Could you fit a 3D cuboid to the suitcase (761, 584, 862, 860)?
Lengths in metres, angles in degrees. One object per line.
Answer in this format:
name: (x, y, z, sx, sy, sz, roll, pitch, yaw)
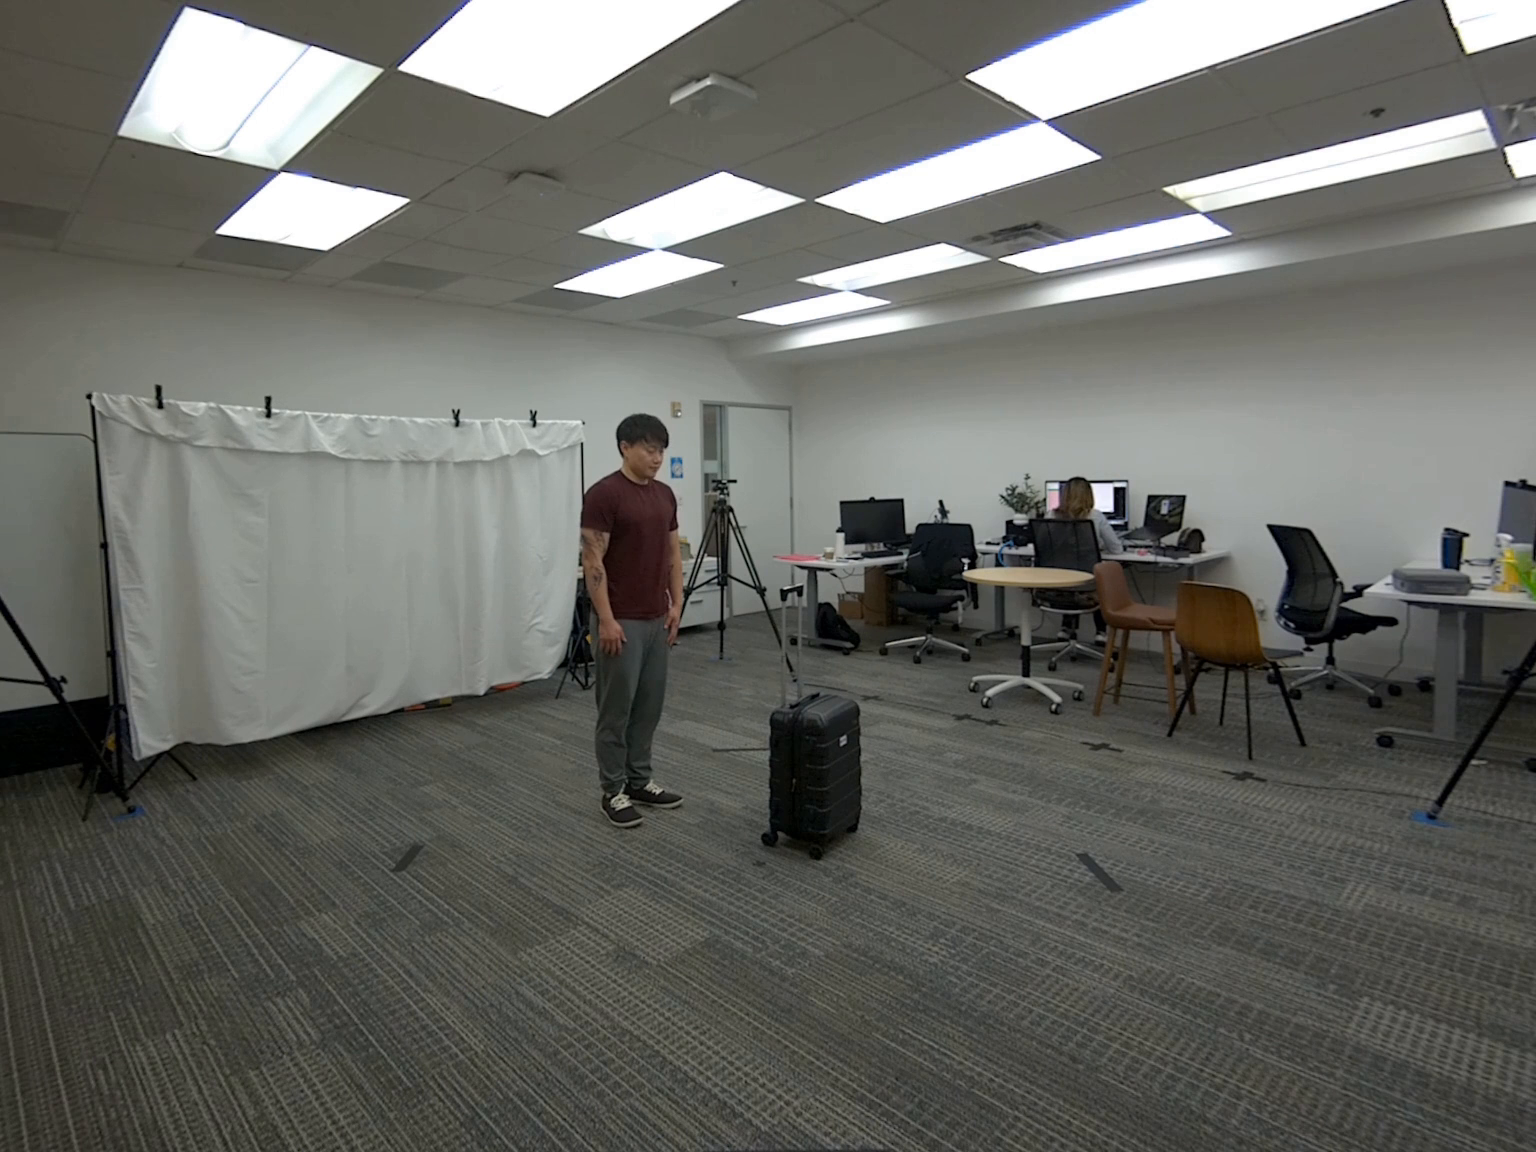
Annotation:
suitcase: (0.197, 0.548, 3.292, 0.264, 0.974, 0.375, 5, 6, 32)
